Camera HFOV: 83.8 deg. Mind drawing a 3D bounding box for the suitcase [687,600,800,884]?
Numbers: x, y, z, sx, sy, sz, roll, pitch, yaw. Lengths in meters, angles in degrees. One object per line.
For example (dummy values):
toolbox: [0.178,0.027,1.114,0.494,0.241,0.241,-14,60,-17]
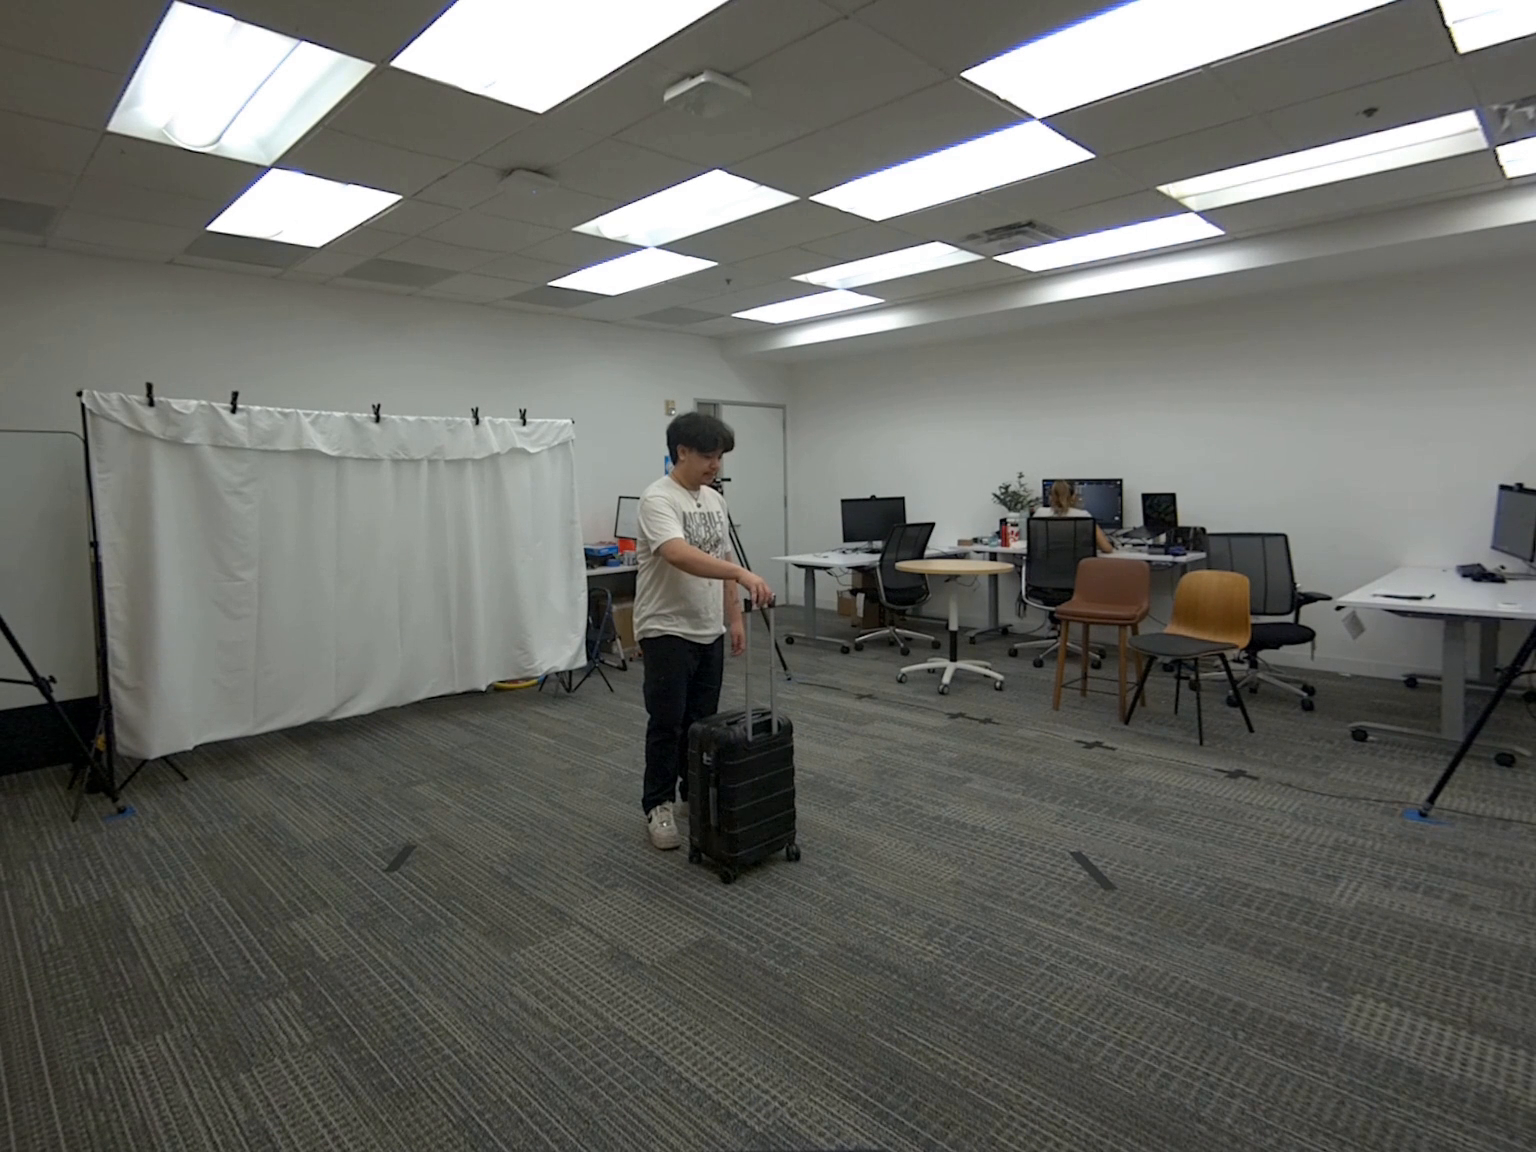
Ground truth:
suitcase: [-0.094,0.568,3.099,0.373,0.976,0.265,-3,3,-41]
